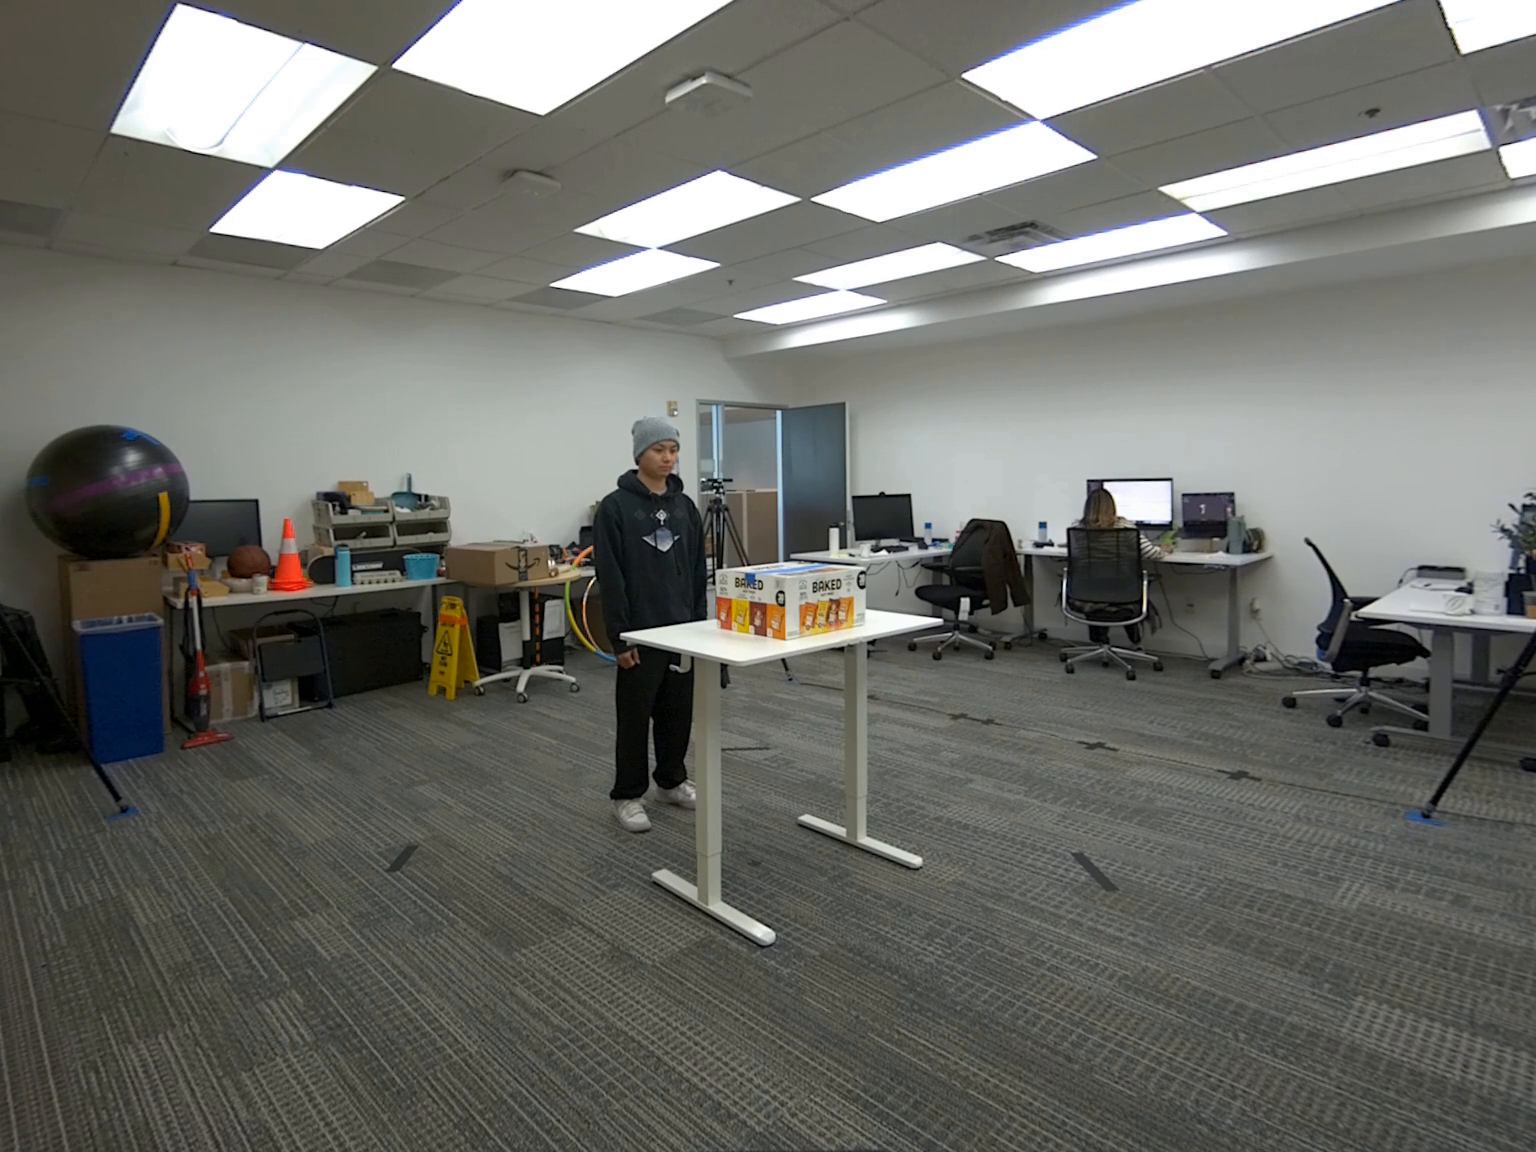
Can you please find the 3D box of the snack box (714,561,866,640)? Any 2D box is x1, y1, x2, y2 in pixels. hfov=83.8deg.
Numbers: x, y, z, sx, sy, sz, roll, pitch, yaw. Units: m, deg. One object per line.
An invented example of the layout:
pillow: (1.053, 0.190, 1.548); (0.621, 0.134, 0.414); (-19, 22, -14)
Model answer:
snack box: (0.081, 0.076, 2.965); (0.394, 0.205, 0.351); (-6, 8, -44)
